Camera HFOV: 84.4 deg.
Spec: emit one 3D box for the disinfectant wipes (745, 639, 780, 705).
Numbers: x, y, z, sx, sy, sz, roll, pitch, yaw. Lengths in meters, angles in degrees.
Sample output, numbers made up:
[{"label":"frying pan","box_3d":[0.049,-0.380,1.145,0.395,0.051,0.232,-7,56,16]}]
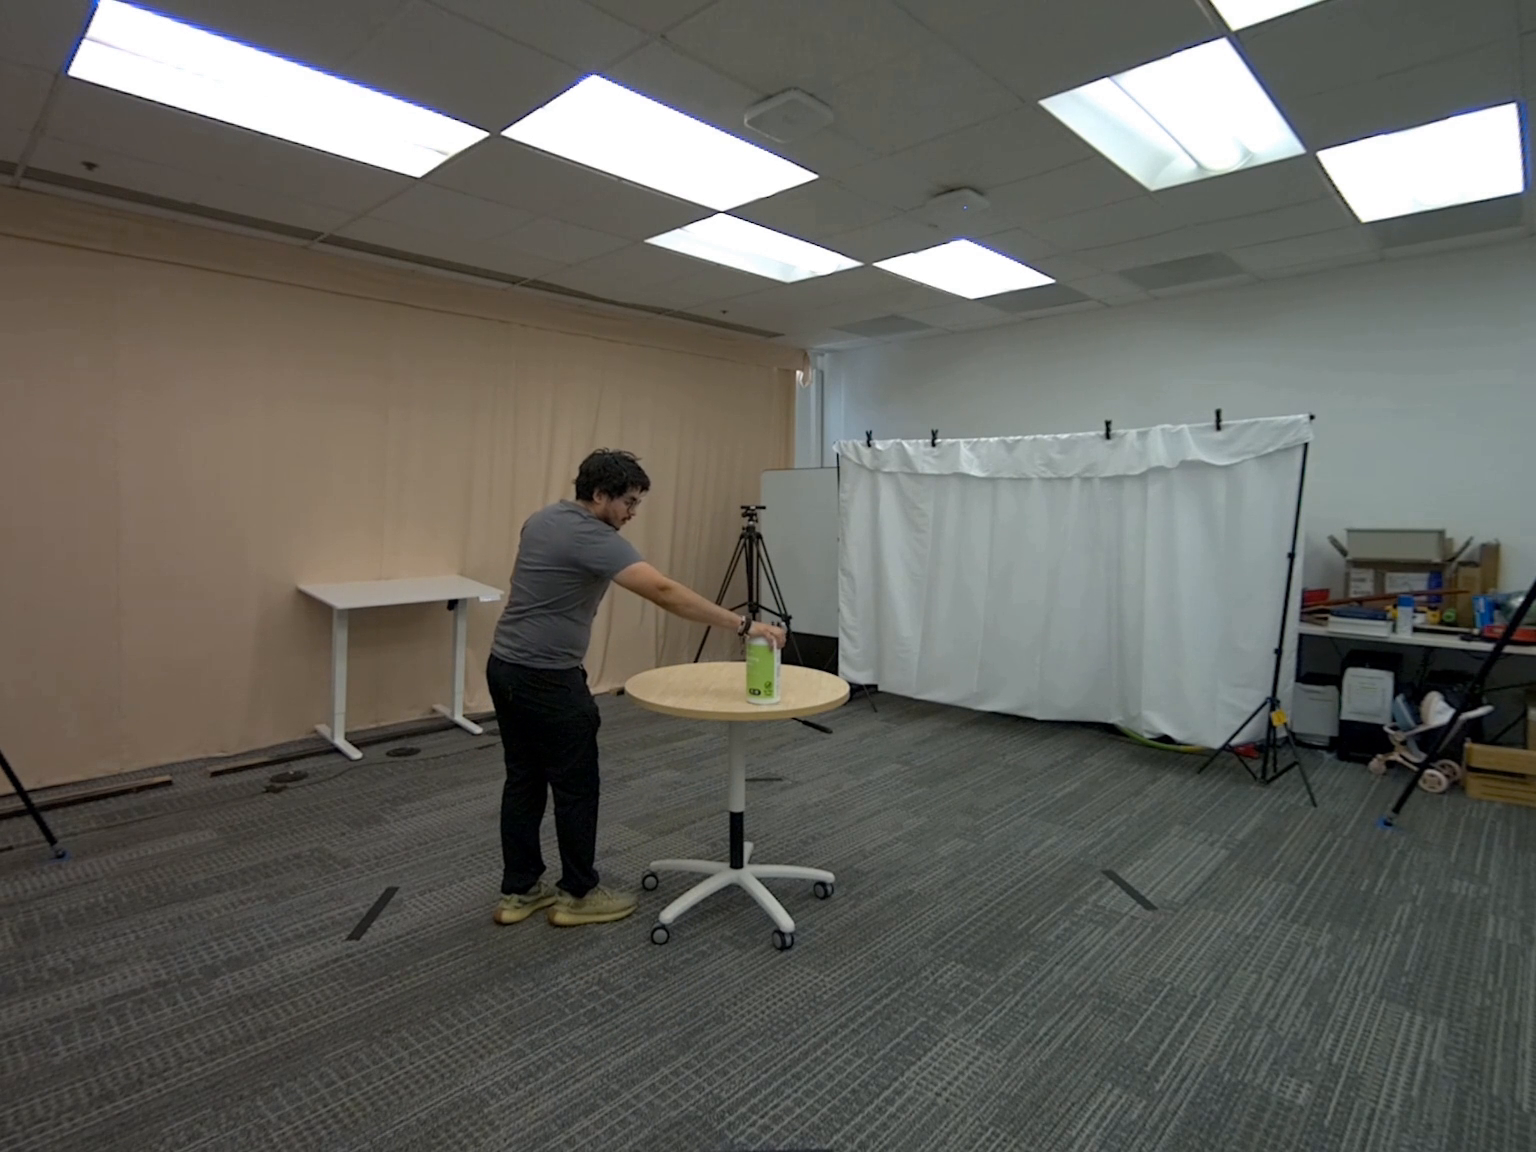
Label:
[{"label":"disinfectant wipes","box_3d":[-0.015,0.289,2.632,0.118,0.217,0.118,-1,5,-2]}]
